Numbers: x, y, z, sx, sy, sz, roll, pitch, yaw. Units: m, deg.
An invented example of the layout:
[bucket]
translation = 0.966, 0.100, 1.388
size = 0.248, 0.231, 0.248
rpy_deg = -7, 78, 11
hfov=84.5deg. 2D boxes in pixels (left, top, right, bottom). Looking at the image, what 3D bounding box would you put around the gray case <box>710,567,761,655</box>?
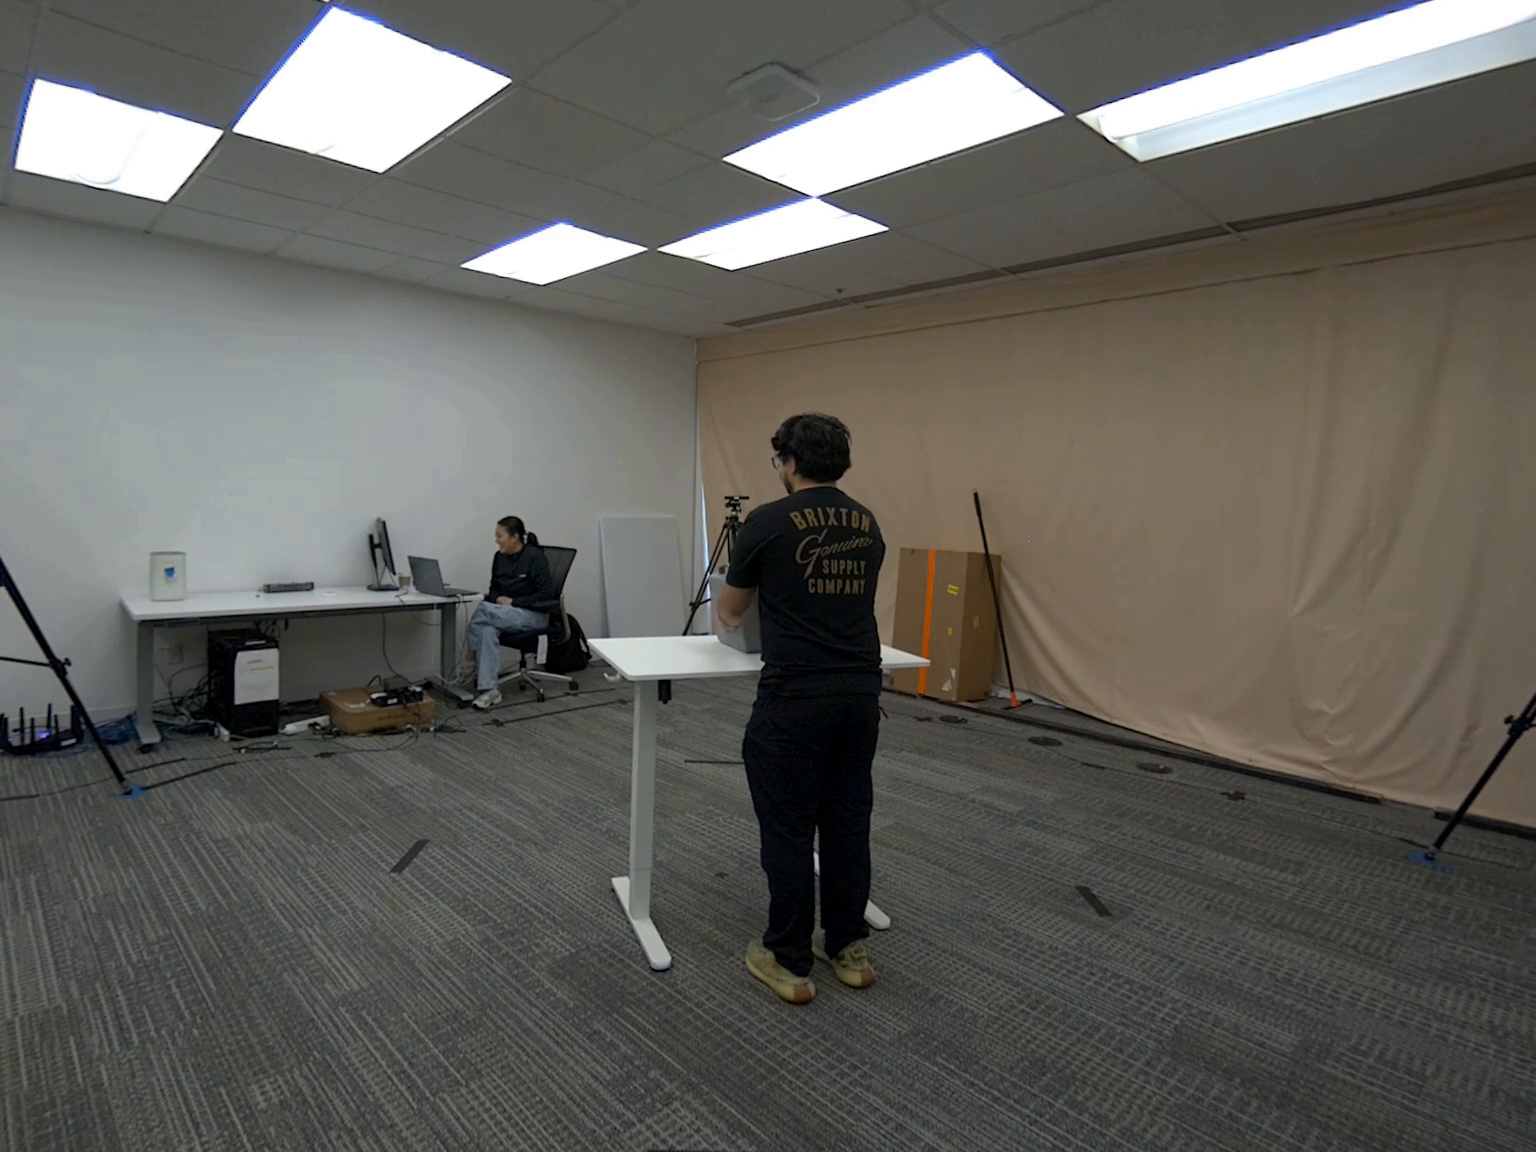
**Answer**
[gray case]
translation = -0.103, 0.116, 2.847
size = 0.103, 0.259, 0.262
rpy_deg = -11, 10, -22
